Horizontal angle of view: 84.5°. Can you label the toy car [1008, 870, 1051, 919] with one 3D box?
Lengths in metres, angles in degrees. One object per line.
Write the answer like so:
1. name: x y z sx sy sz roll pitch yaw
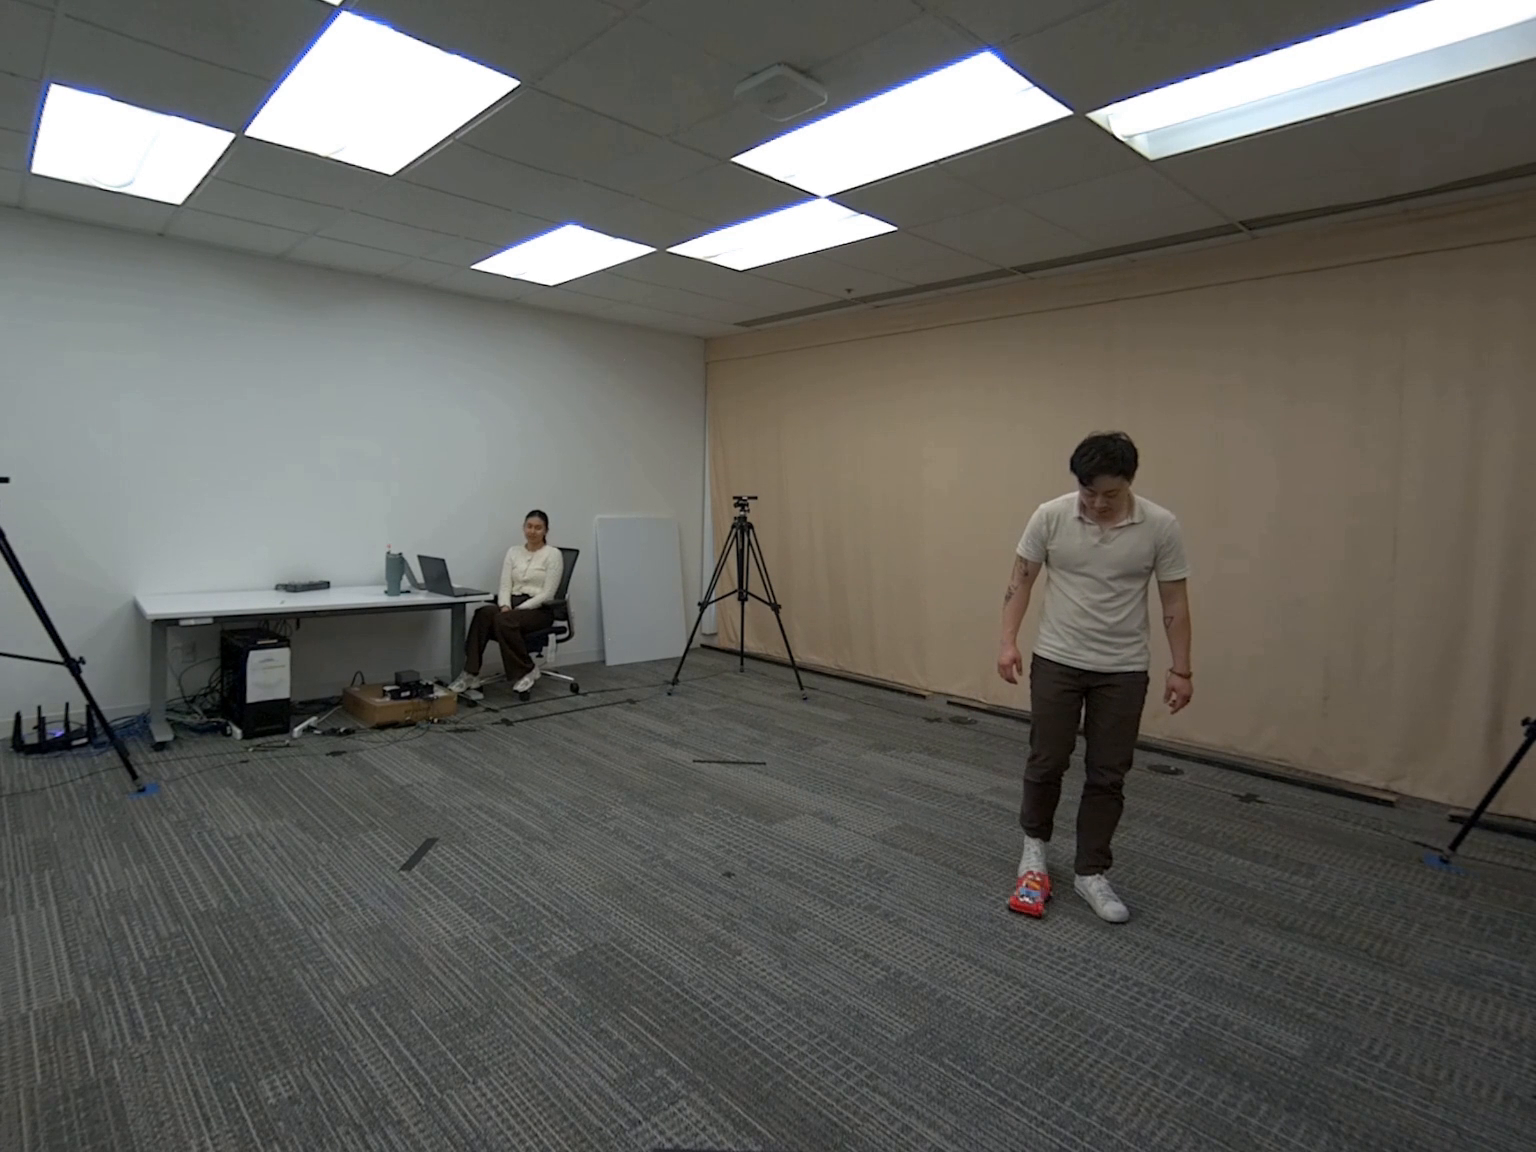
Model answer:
1. toy car: 0.913 1.112 2.943 0.133 0.082 0.252 4 17 28
